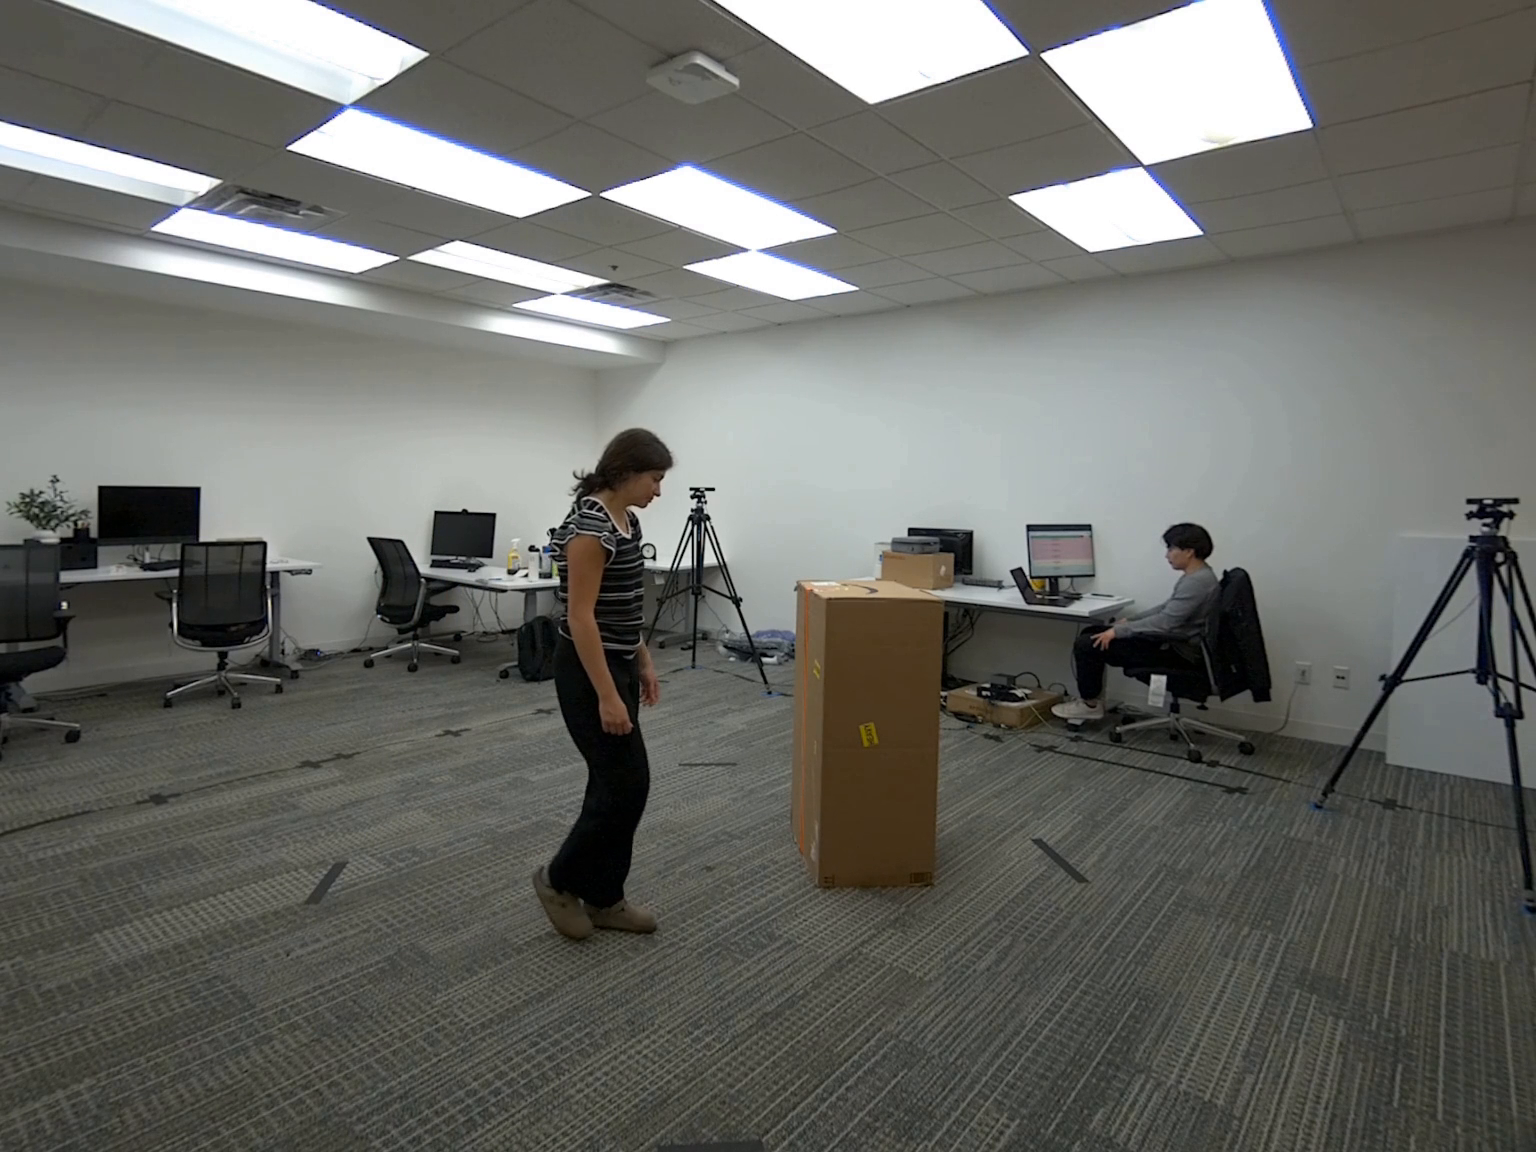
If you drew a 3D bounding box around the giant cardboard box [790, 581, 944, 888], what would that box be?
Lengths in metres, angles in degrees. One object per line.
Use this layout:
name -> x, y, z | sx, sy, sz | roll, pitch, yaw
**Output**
giant cardboard box -> 0.347, 0.554, 3.251 | 0.424, 1.023, 0.583 | 1, 3, -6
